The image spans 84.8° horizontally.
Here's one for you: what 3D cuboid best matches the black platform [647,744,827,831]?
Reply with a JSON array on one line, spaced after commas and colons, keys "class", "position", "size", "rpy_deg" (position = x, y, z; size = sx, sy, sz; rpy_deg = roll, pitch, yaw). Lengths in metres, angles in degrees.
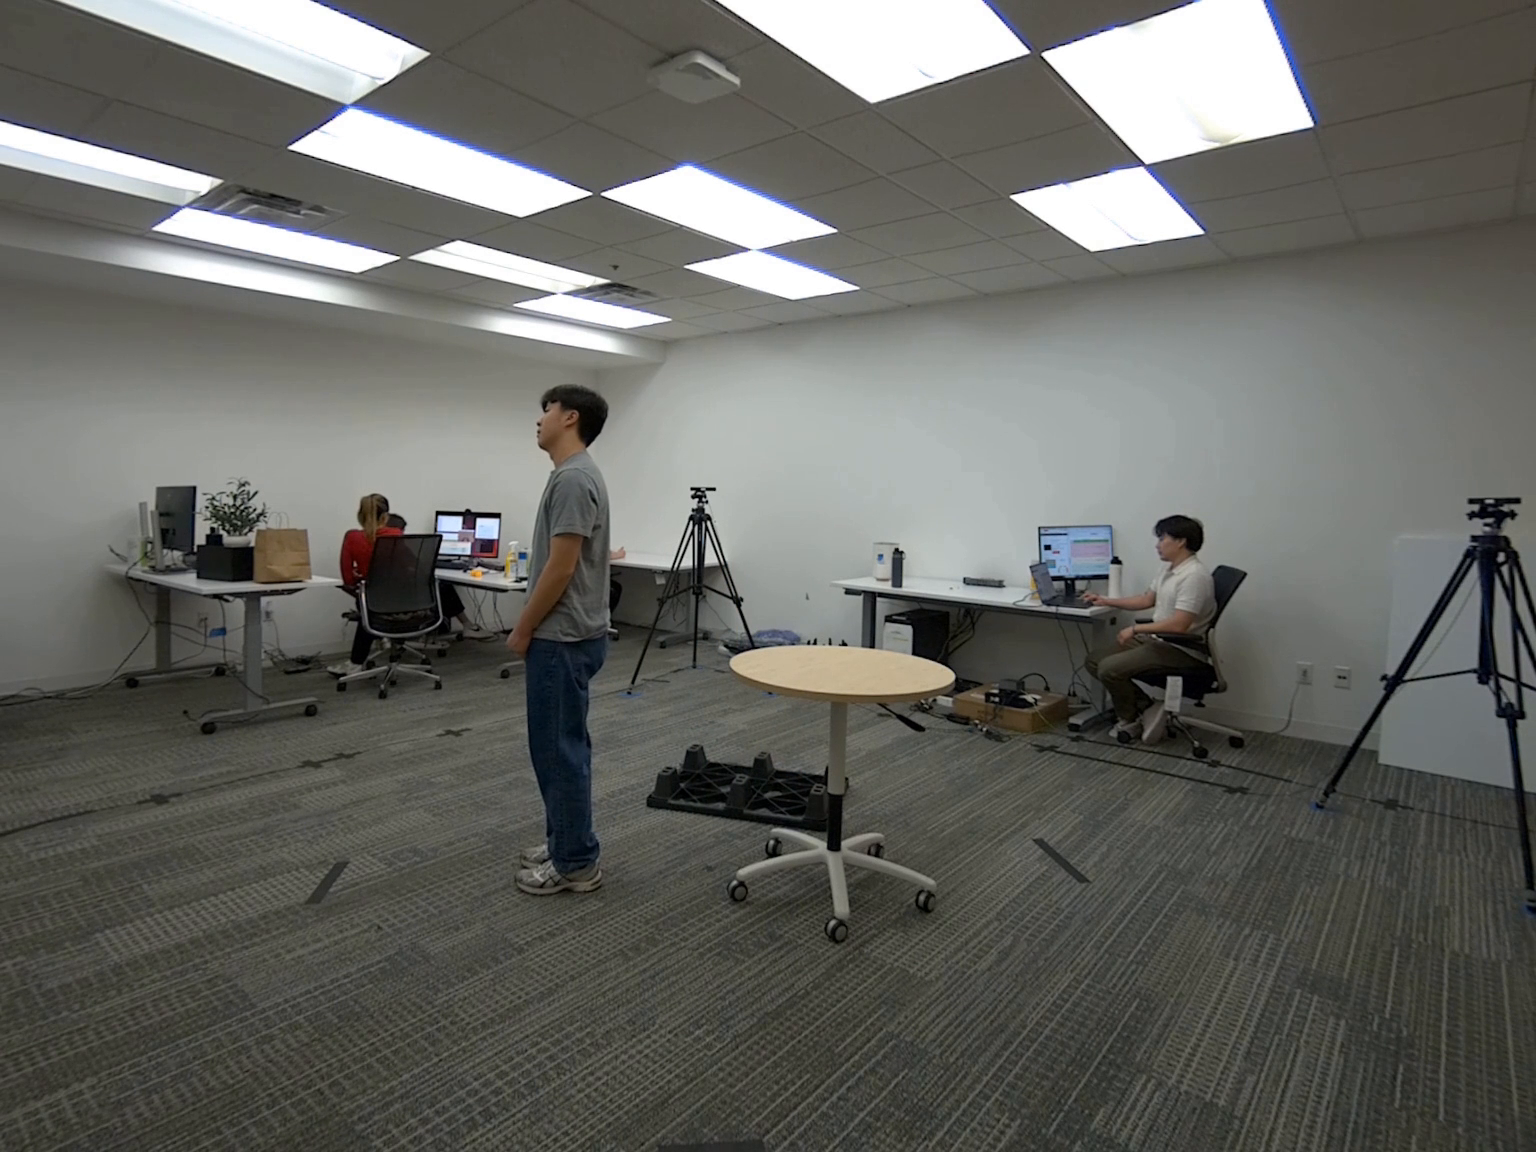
[{"class": "black platform", "position": [-0.089, 0.929, 3.859], "size": [0.820, 0.143, 0.596], "rpy_deg": [2, 5, 16]}]
